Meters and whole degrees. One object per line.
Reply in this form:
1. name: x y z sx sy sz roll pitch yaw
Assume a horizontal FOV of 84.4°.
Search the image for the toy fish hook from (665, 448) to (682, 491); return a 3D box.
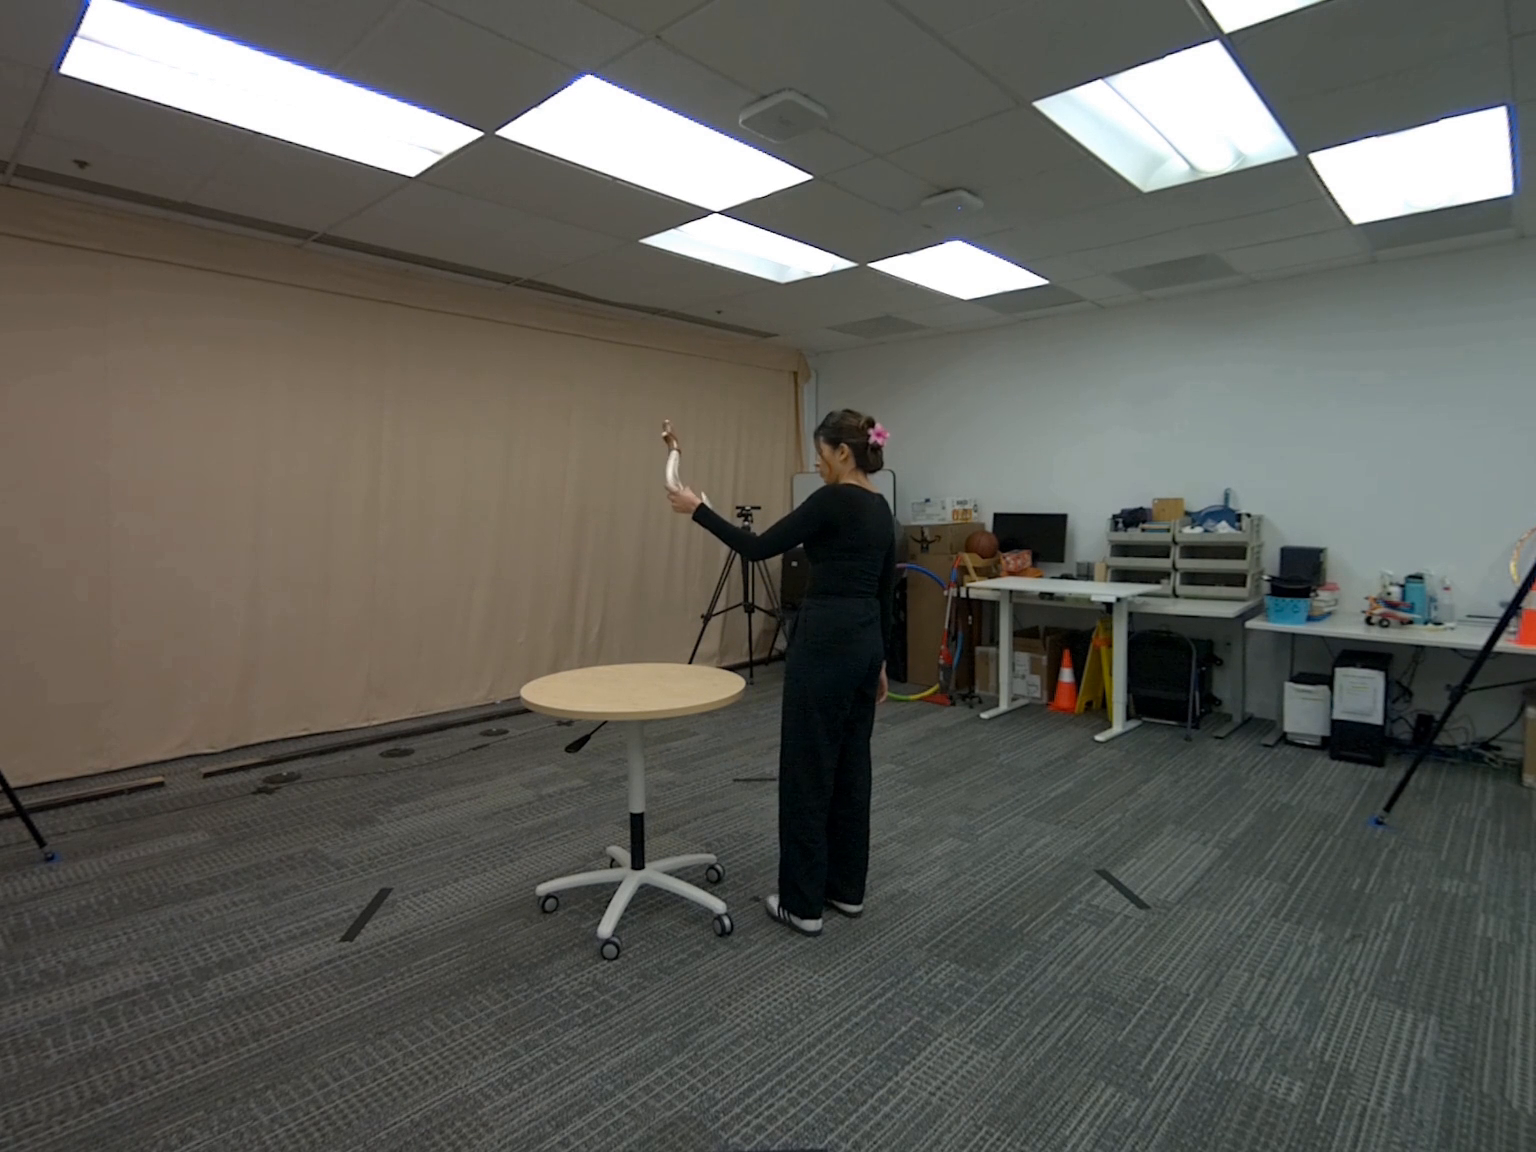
1. toy fish hook: -0.297 -0.374 3.013 0.049 0.520 0.217 -32 -48 16
